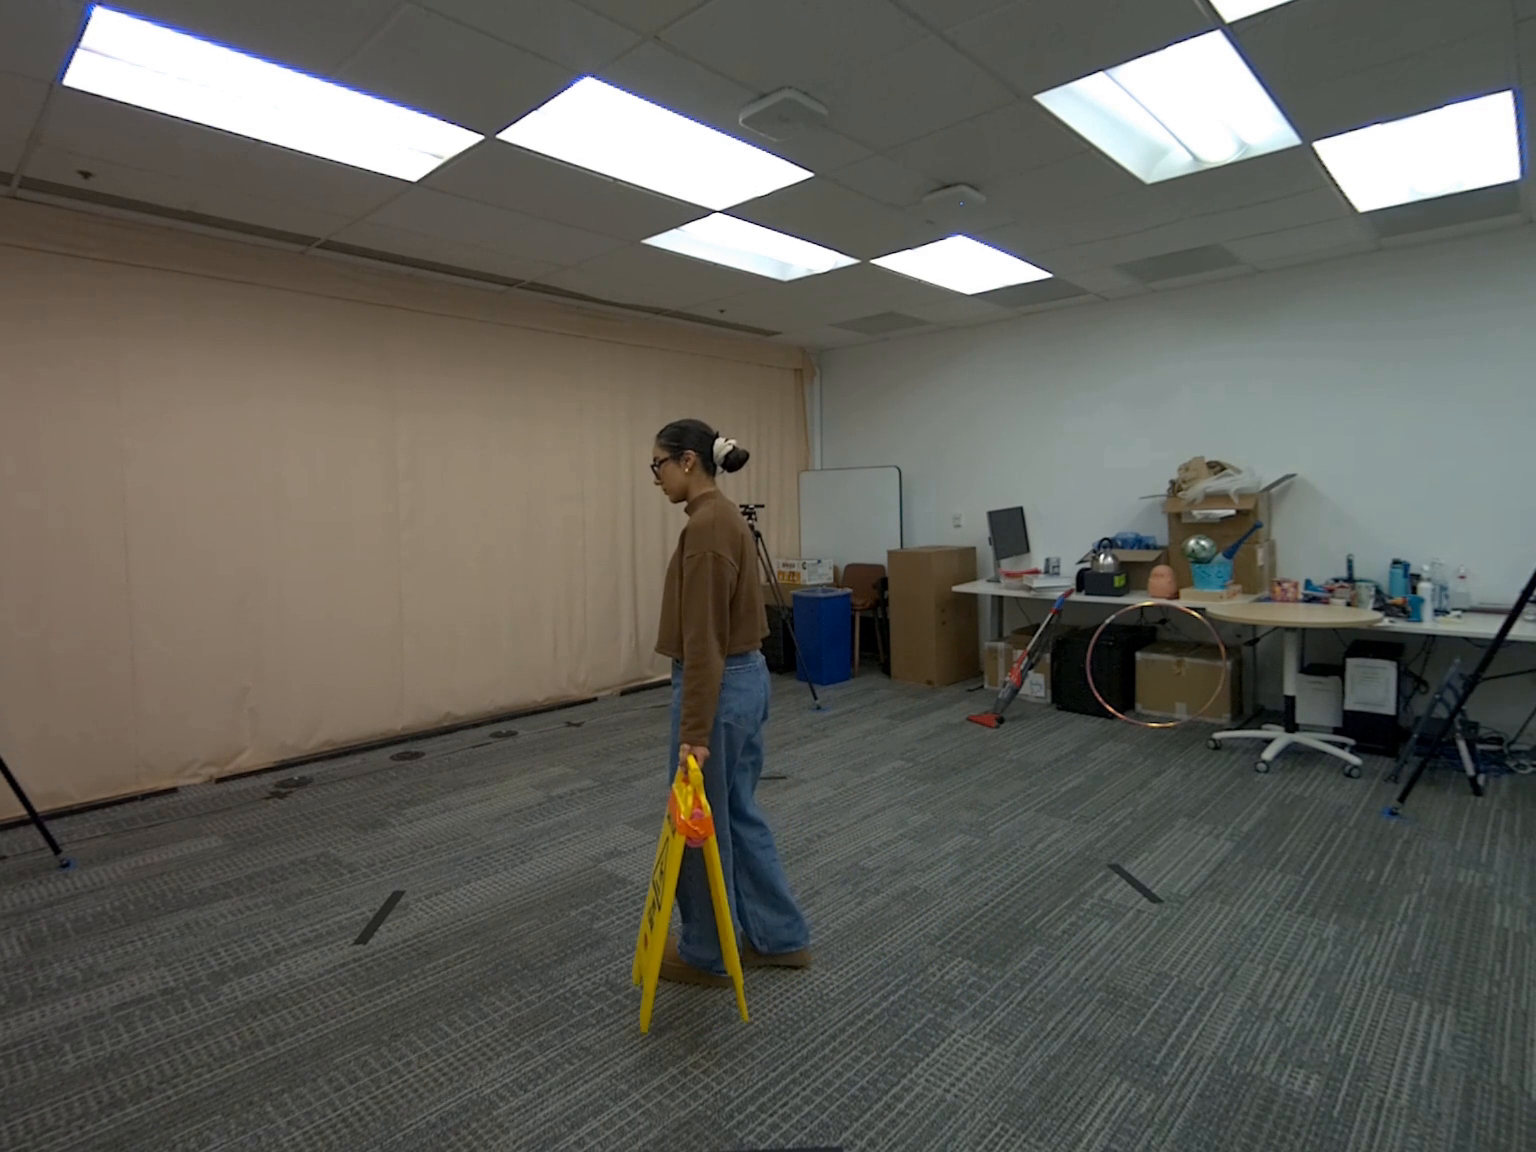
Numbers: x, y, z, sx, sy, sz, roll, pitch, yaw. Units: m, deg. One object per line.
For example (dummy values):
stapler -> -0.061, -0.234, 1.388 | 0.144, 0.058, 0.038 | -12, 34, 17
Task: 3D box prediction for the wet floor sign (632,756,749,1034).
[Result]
wet floor sign -> -0.197, 0.776, 2.184 | 0.286, 0.644, 0.287 | 1, 4, -13
